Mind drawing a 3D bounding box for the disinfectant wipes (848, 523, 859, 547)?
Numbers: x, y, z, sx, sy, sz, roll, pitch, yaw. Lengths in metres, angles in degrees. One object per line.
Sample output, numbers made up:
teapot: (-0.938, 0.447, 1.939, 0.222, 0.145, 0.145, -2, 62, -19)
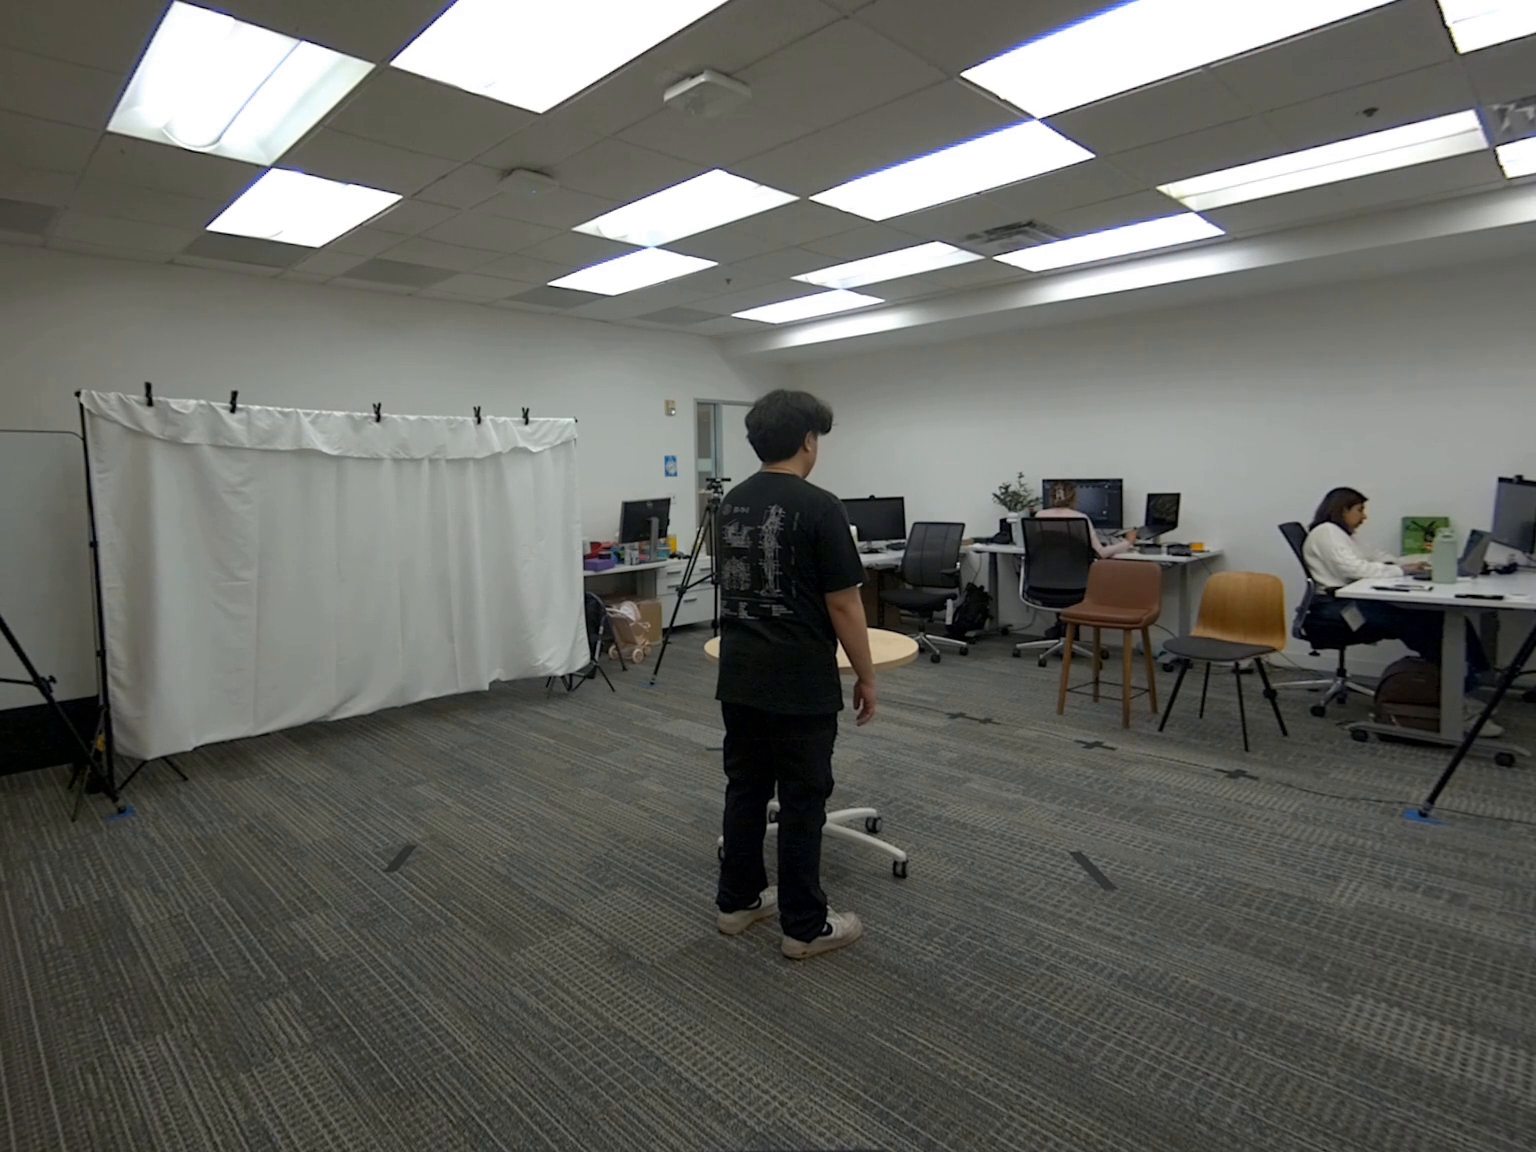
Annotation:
disinfectant wipes: (0.278, -0.055, 3.056, 0.118, 0.216, 0.118, -3, 6, -1)
